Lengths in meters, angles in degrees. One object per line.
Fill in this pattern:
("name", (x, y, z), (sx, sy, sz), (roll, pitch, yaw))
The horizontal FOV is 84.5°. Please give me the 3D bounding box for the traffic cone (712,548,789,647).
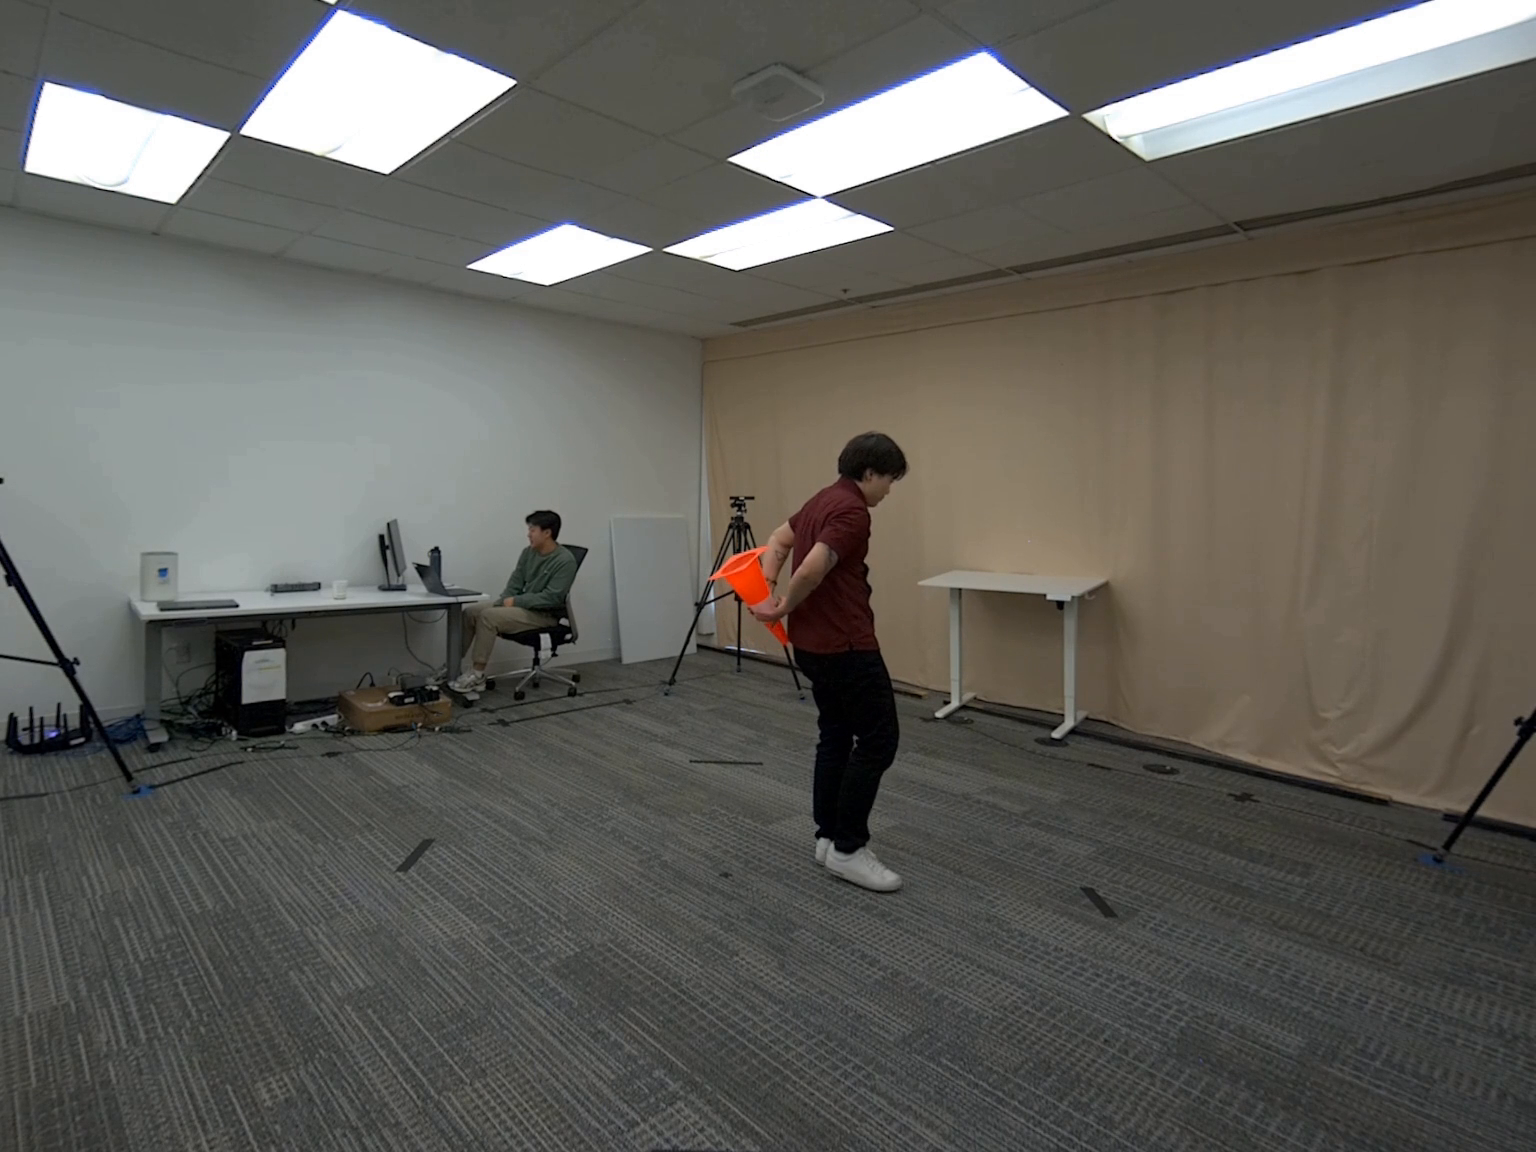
("traffic cone", (-0.032, 0.111, 3.273), (0.208, 0.378, 0.203), (-16, 18, 40))
